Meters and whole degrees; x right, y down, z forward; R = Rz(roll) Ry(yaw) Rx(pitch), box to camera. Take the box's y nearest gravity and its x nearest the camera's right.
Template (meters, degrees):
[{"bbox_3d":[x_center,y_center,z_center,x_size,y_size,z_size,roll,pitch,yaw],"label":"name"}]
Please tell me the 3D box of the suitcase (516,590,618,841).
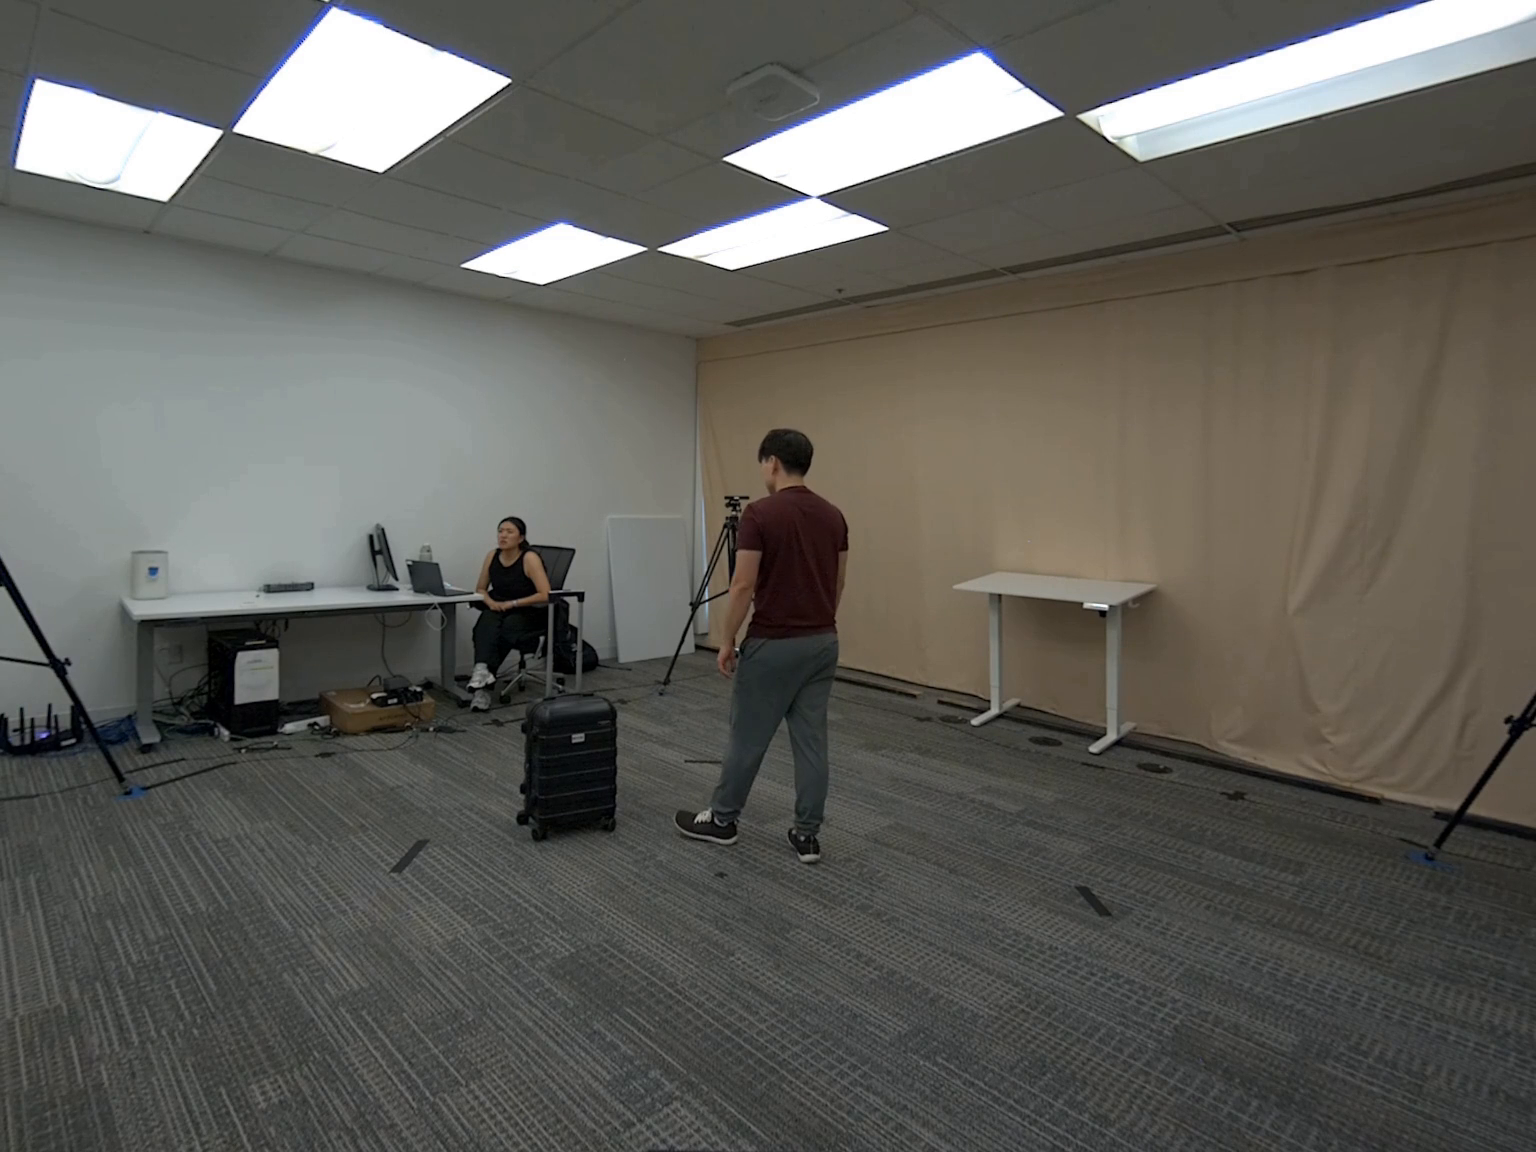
[{"bbox_3d":[-0.821,0.576,3.502,0.376,0.975,0.263,1,5,-28],"label":"suitcase"}]
